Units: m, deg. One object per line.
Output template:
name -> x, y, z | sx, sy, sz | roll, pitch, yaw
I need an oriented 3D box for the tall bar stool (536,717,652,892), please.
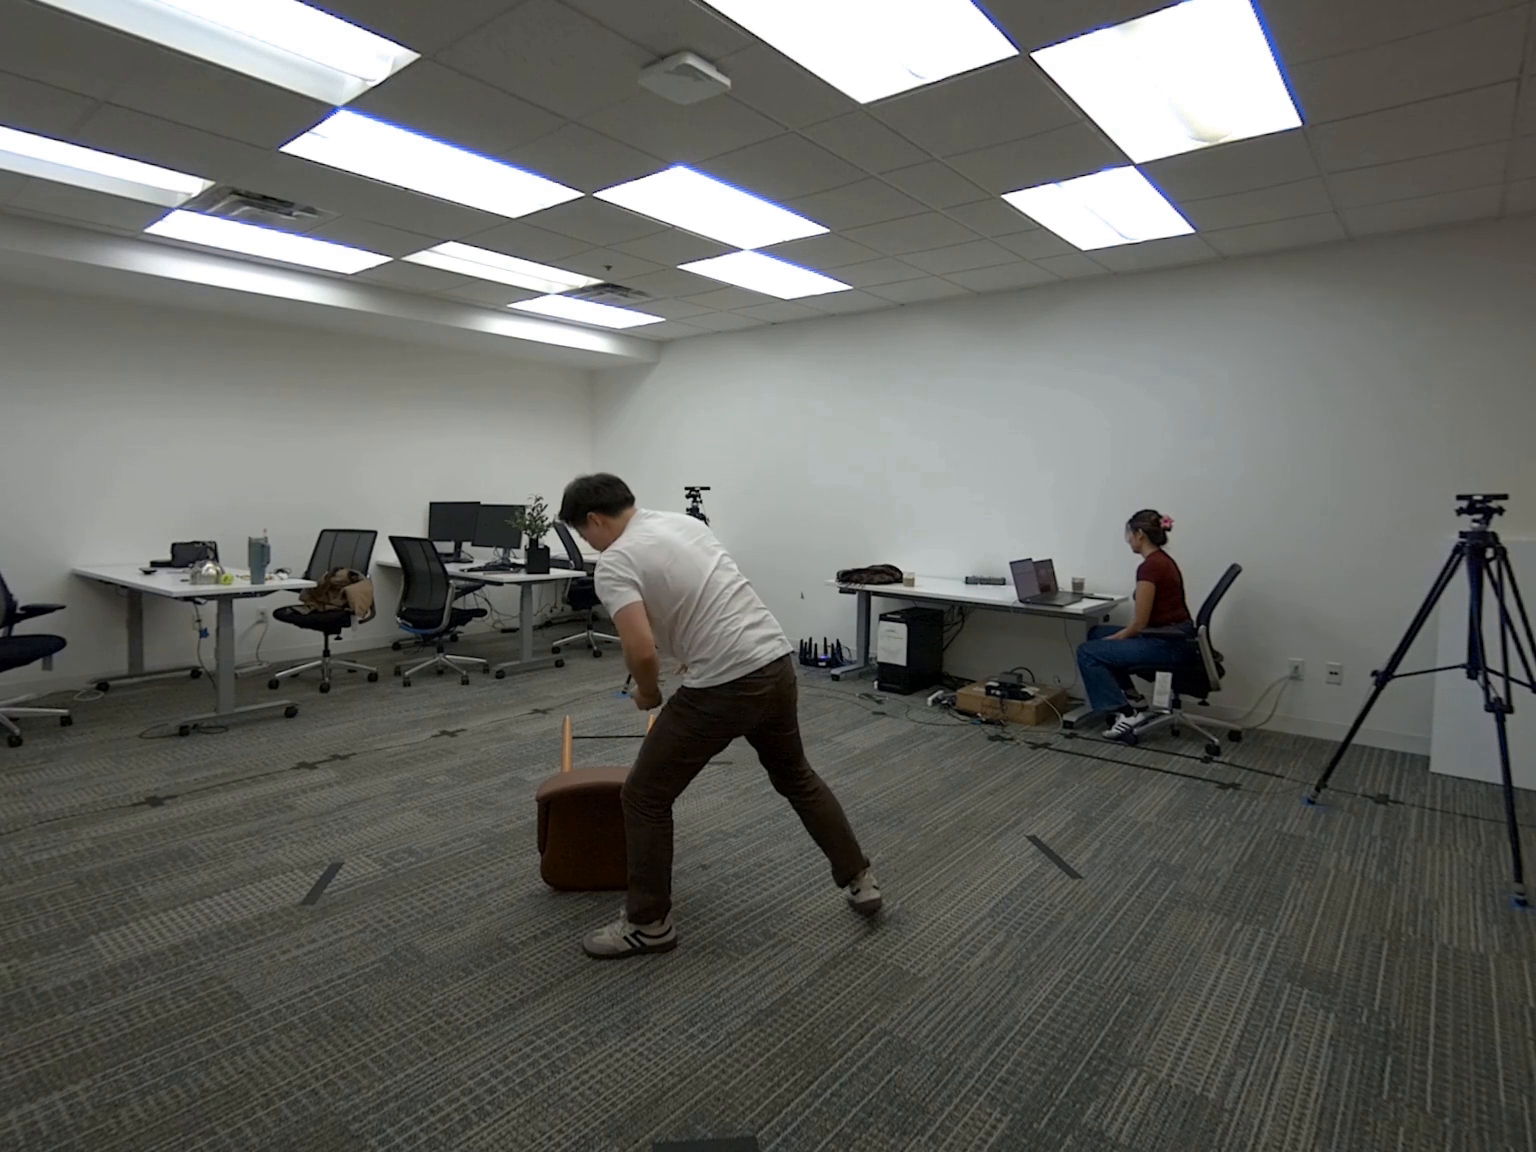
tall bar stool -> -0.598, 0.835, 3.070 | 0.453, 0.466, 0.899 | 1, 4, -9
